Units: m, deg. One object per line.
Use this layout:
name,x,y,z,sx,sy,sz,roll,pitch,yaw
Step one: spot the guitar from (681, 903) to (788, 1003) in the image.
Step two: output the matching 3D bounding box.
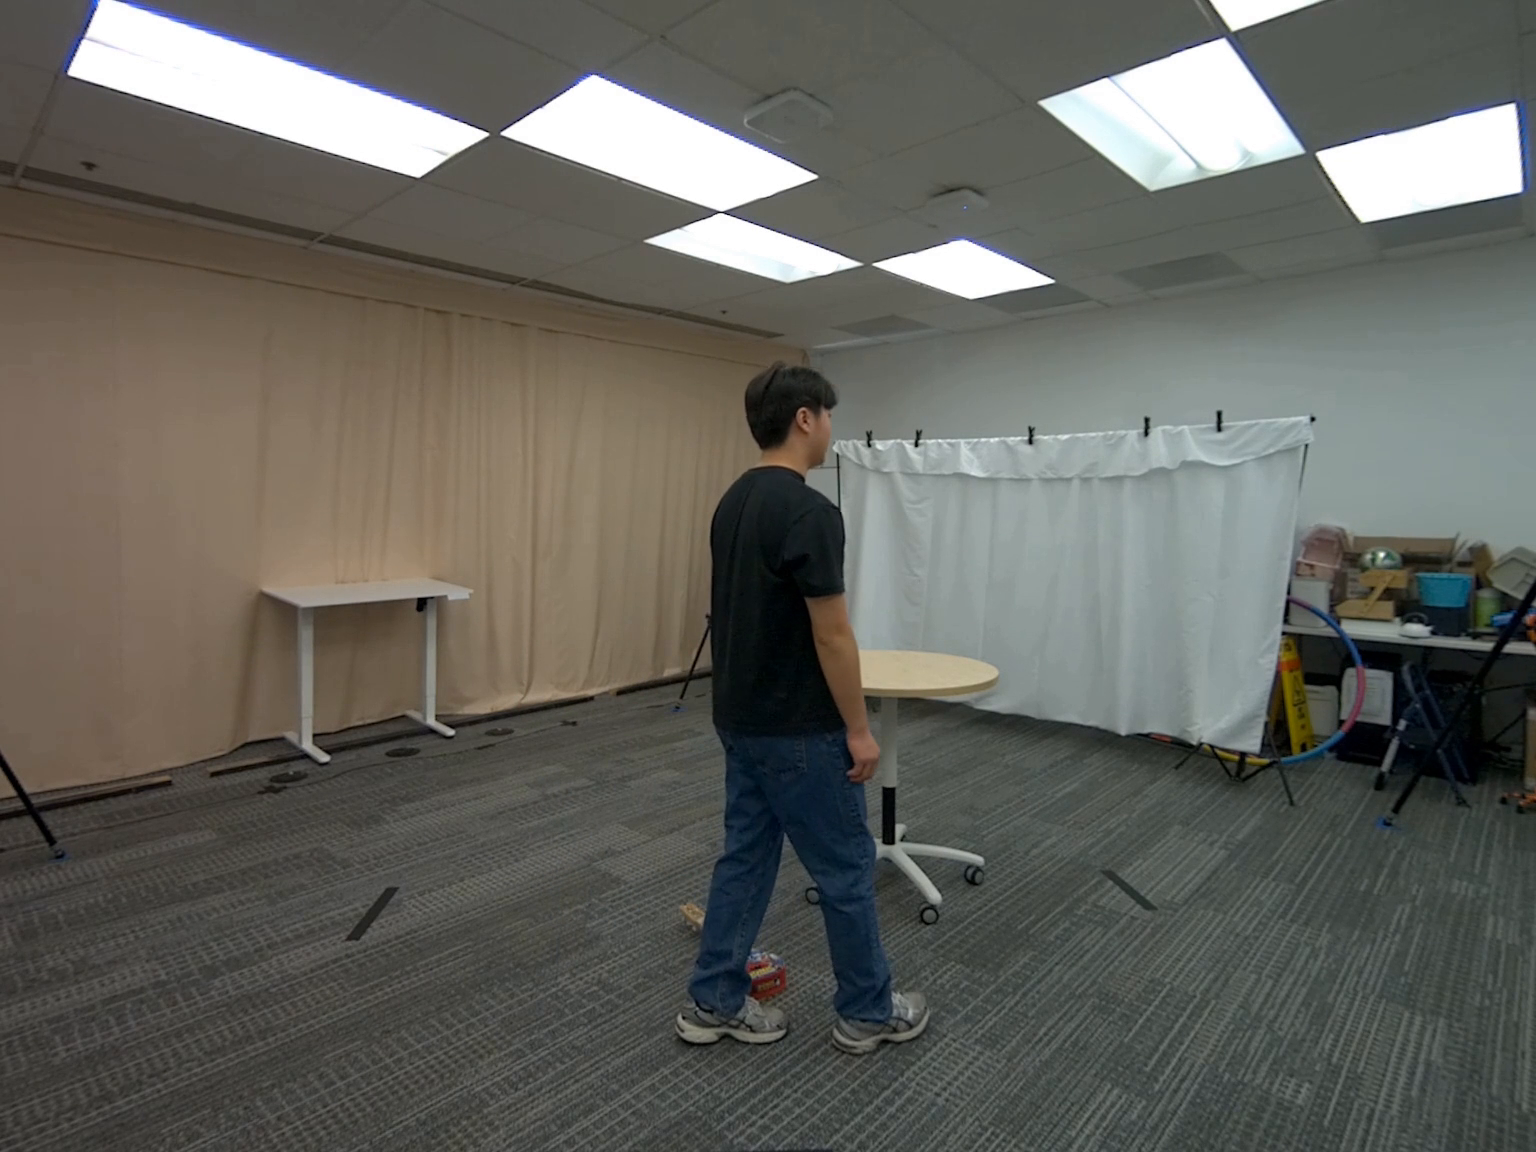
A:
guitar,-0.112,1.142,2.604,0.189,0.070,0.510,-3,6,-23
